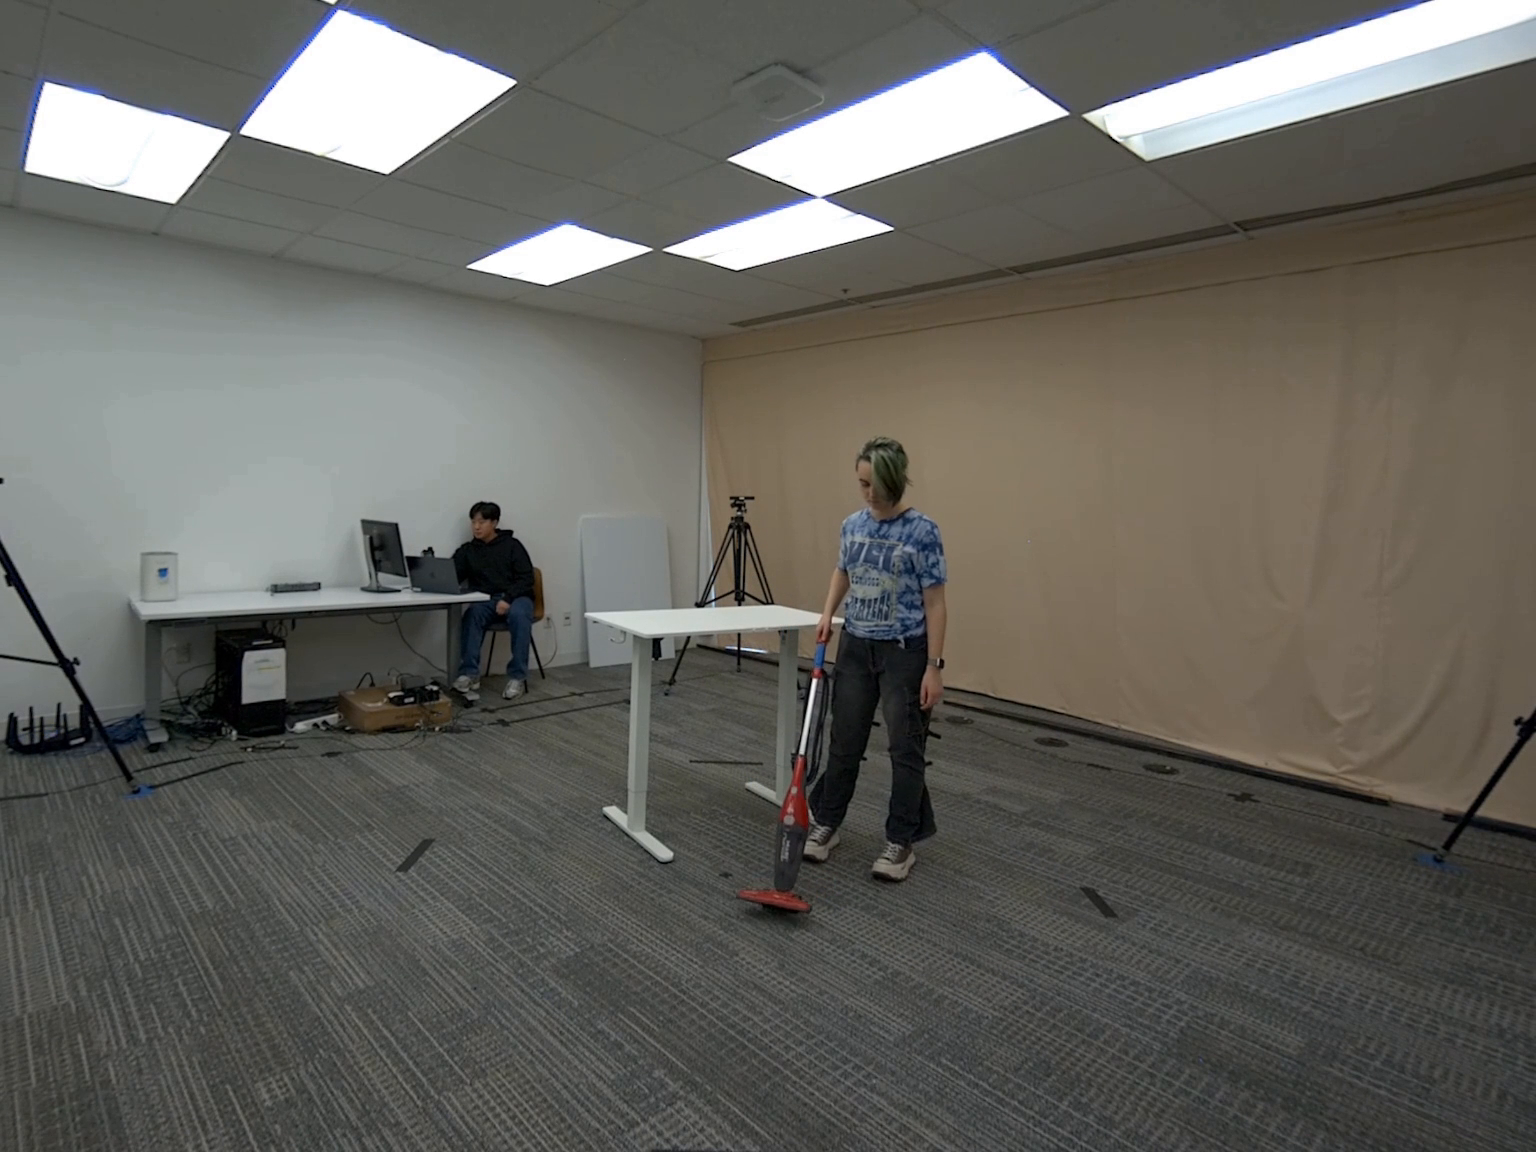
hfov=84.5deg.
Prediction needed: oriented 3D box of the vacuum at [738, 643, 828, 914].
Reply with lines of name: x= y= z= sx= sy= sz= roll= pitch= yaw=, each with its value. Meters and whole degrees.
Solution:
vacuum: x=0.129 y=0.665 z=3.059 sx=0.257 sy=1.063 sz=0.140 roll=3 pitch=-30 yaw=20
